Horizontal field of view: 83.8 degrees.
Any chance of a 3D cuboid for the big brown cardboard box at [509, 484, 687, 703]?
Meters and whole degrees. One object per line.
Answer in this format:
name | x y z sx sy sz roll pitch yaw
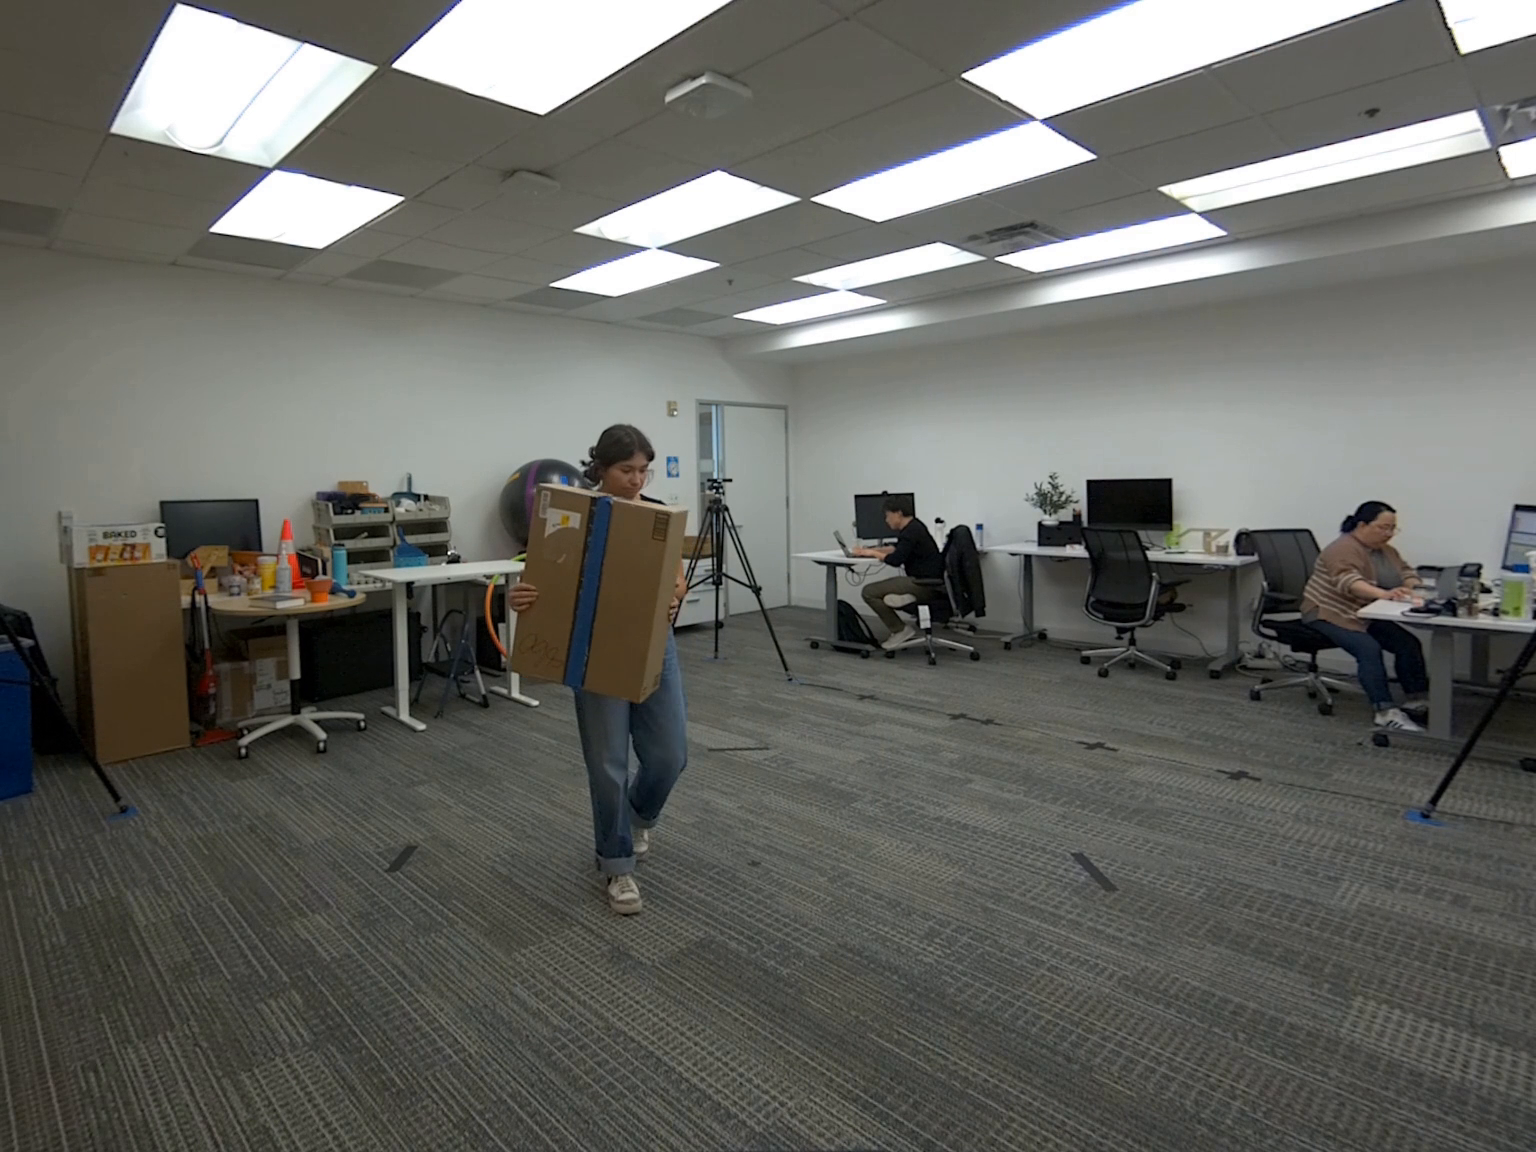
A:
big brown cardboard box | -0.499 0.031 2.566 0.423 0.586 0.231 10 6 12
